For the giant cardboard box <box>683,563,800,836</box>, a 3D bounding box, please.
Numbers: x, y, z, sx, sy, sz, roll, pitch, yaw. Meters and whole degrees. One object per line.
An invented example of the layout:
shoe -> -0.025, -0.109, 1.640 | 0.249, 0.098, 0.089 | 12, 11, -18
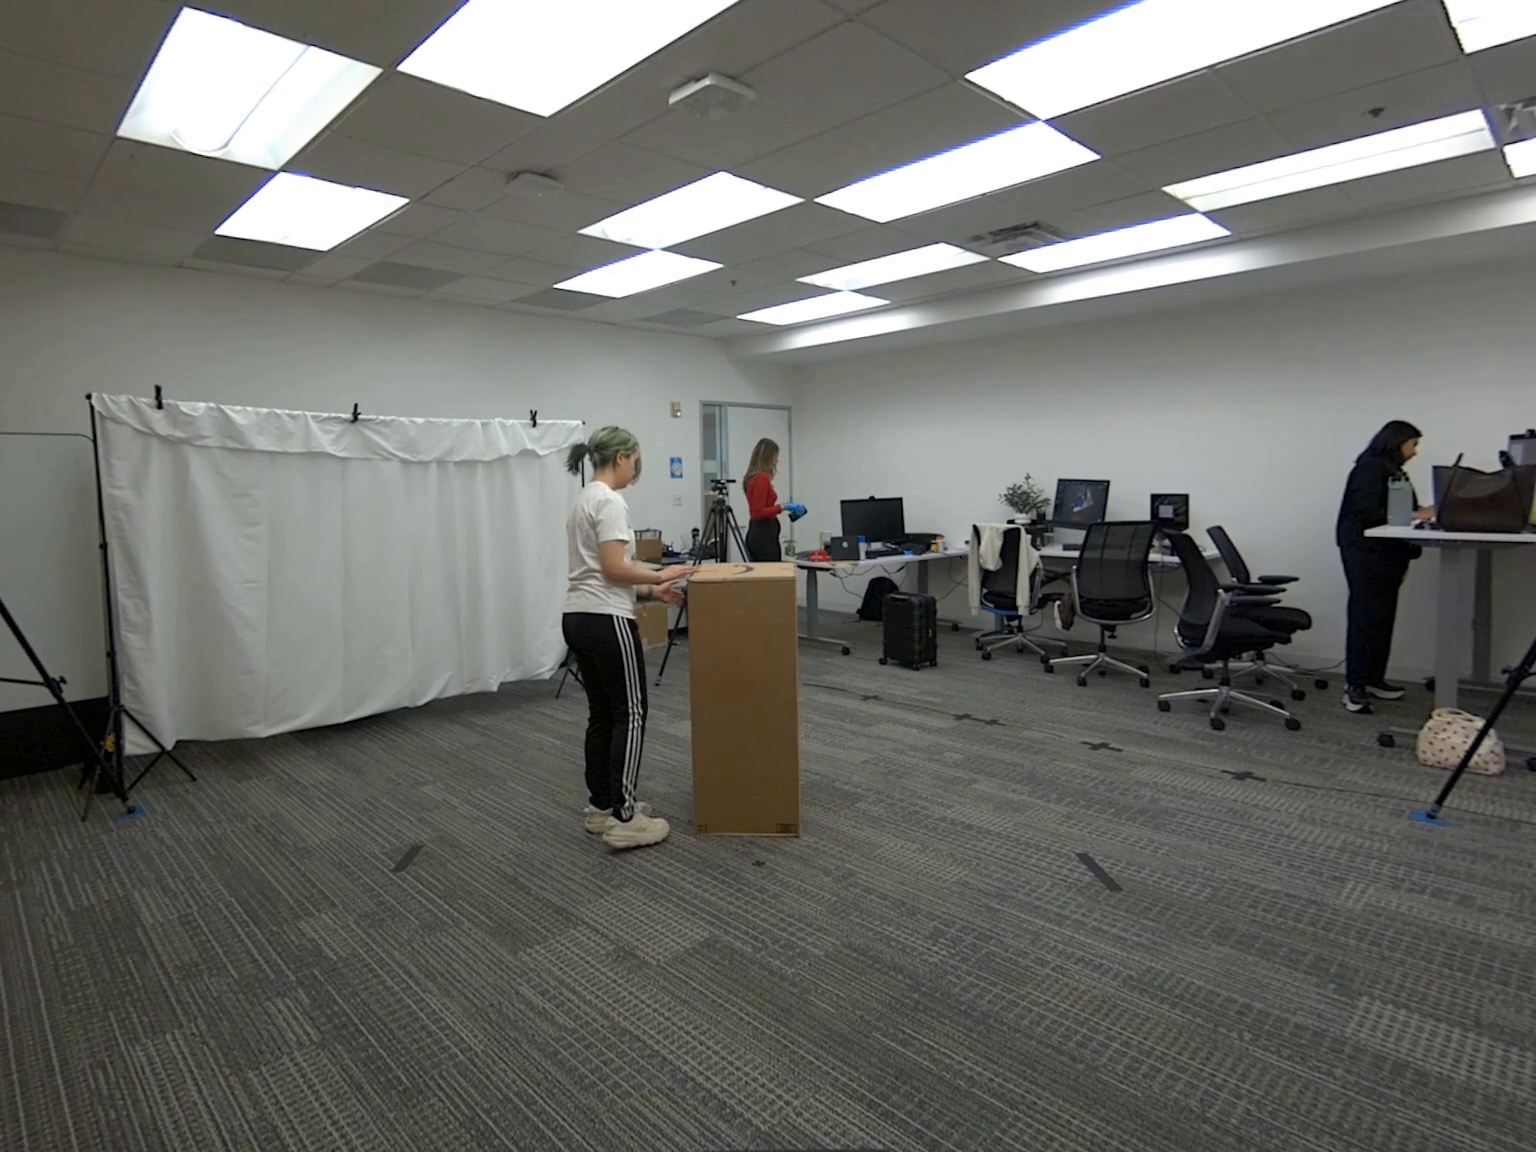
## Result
giant cardboard box -> -0.092, 0.485, 3.606 | 0.428, 1.022, 0.577 | -1, 4, 3
